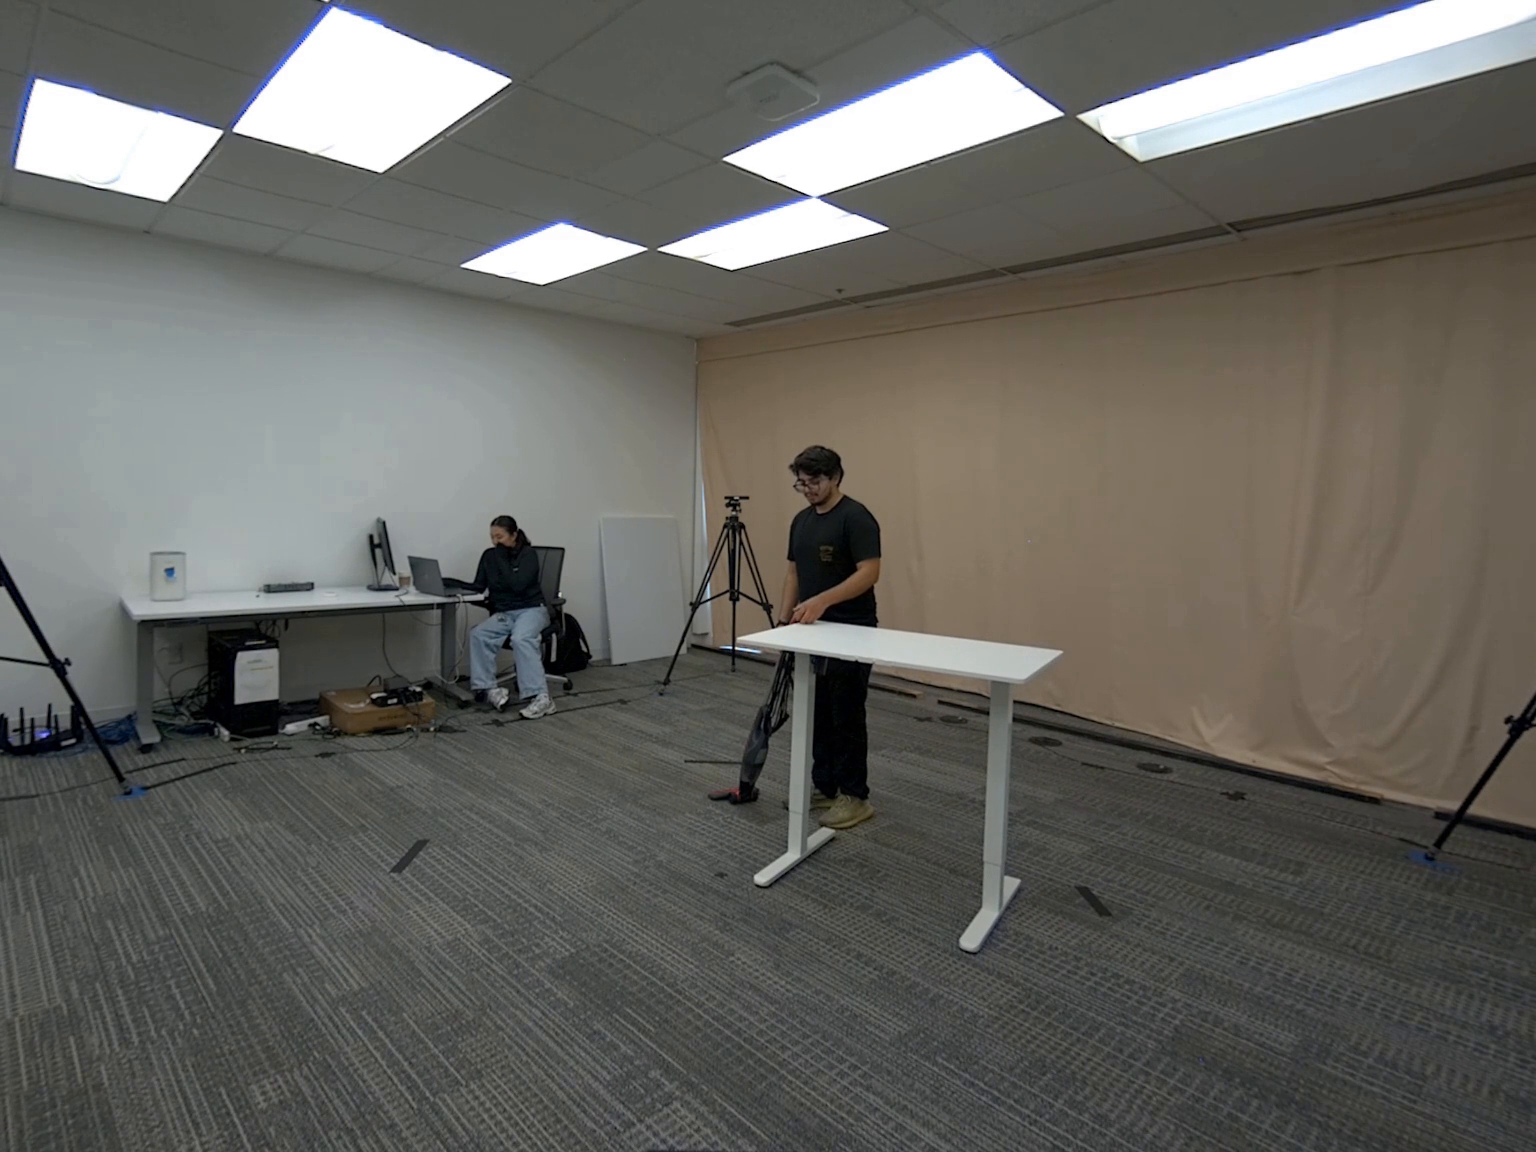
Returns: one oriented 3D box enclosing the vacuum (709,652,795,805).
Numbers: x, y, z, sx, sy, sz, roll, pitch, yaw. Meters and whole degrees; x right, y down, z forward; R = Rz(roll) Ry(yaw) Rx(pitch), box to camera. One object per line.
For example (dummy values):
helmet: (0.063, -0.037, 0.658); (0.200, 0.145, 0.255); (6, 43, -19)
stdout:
vacuum: (0.000, 0.593, 3.662); (0.247, 1.037, 0.148); (-6, 38, -38)
